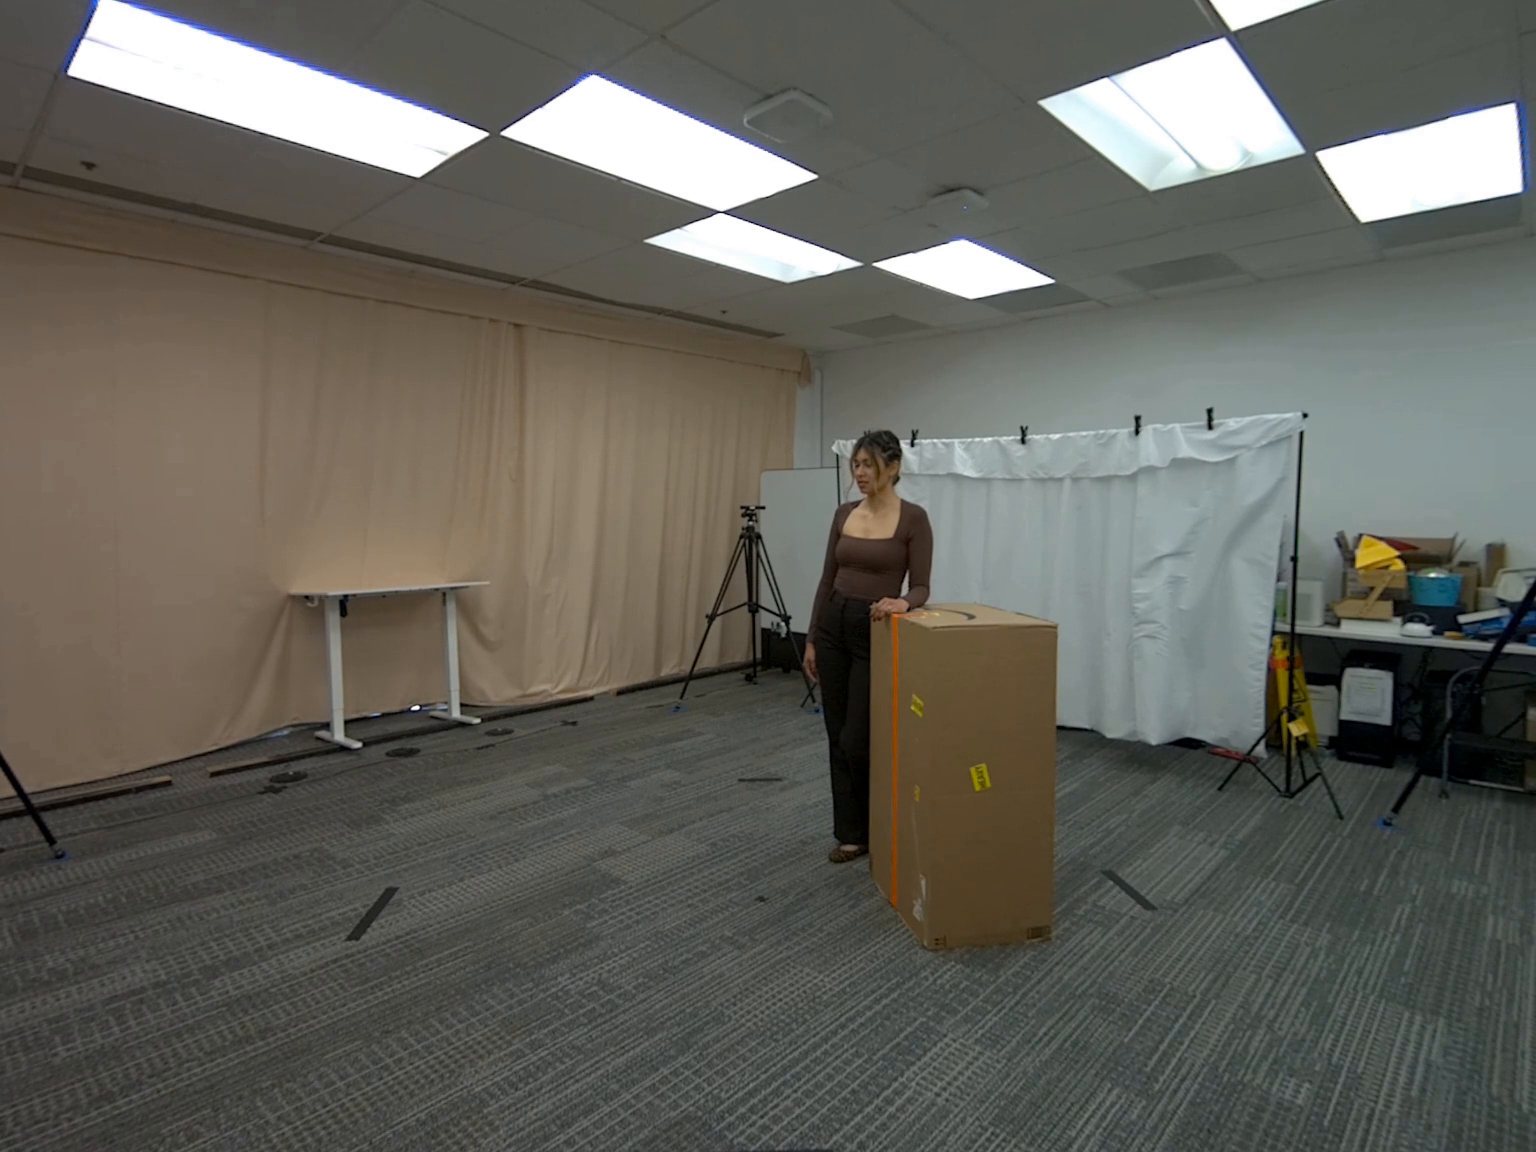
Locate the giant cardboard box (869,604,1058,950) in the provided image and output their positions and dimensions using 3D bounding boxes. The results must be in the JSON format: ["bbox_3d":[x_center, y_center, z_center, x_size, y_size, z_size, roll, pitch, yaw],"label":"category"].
[{"bbox_3d":[0.653,0.641,2.909,0.442,1.025,0.591,-1,3,-11],"label":"giant cardboard box"}]
